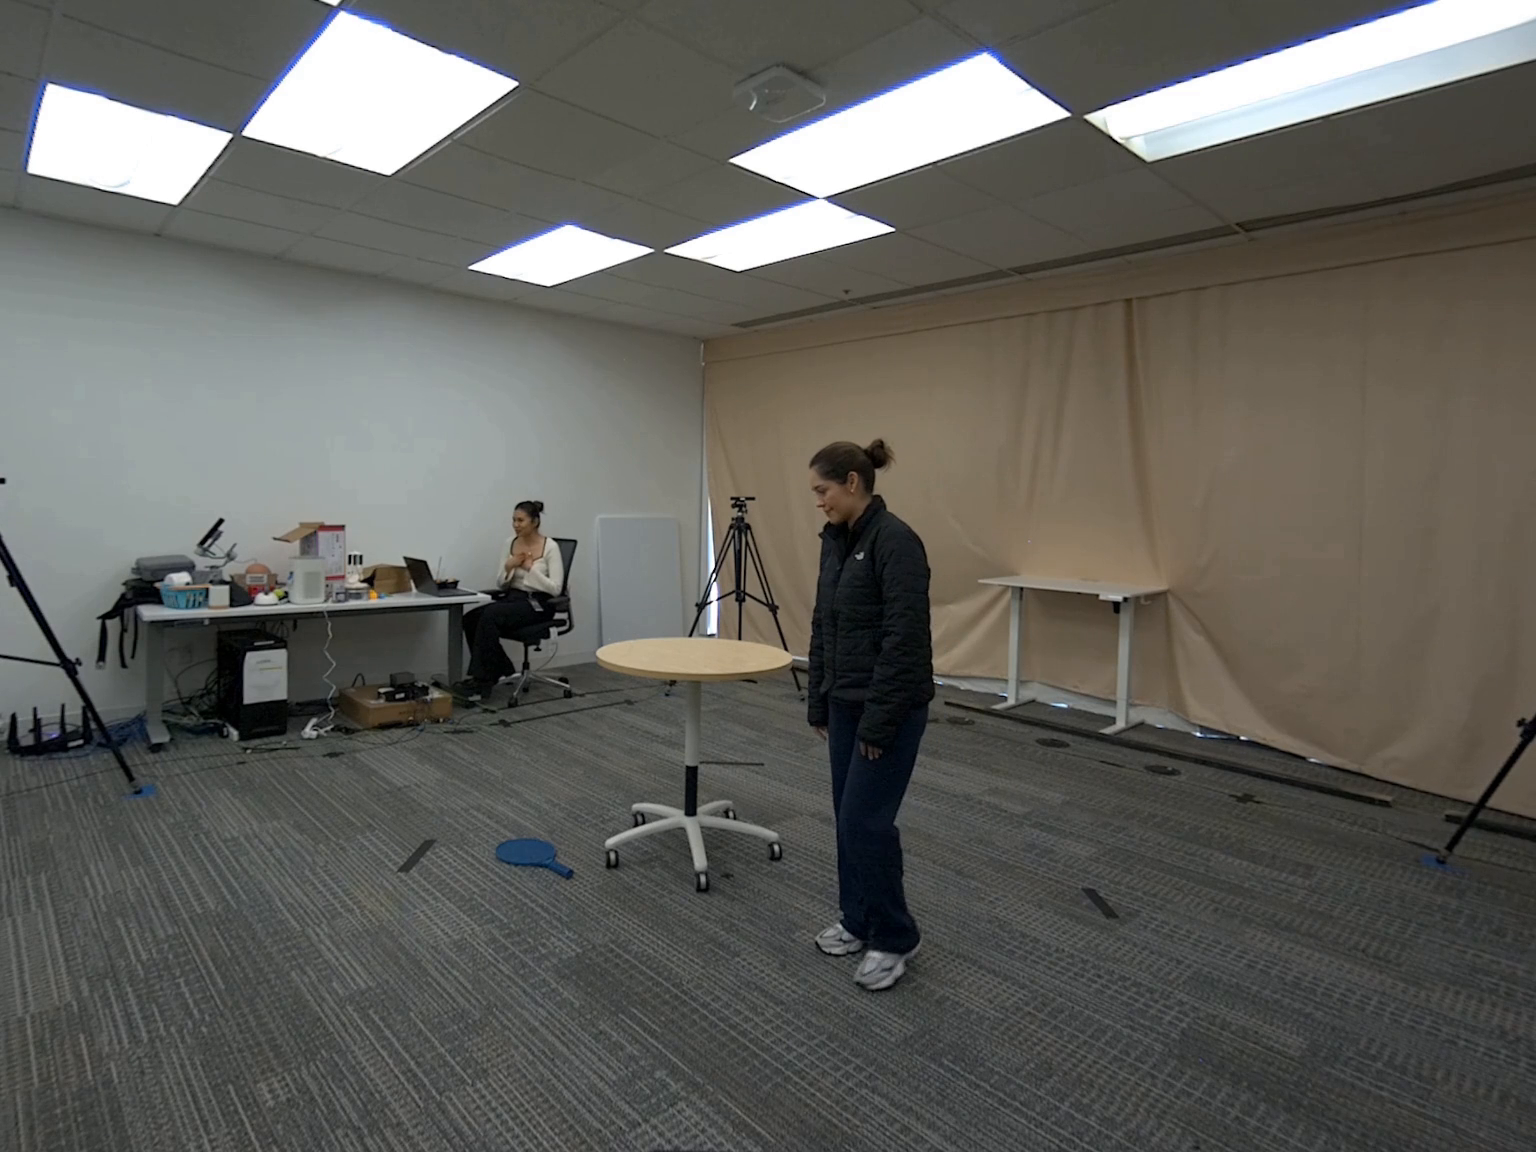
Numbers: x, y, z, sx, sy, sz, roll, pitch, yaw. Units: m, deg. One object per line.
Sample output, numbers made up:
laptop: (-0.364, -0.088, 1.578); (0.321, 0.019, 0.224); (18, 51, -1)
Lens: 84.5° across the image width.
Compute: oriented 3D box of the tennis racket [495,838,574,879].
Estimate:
tennis racket: (-0.878, 1.071, 3.181); (0.209, 0.032, 0.444); (-4, 6, -44)
